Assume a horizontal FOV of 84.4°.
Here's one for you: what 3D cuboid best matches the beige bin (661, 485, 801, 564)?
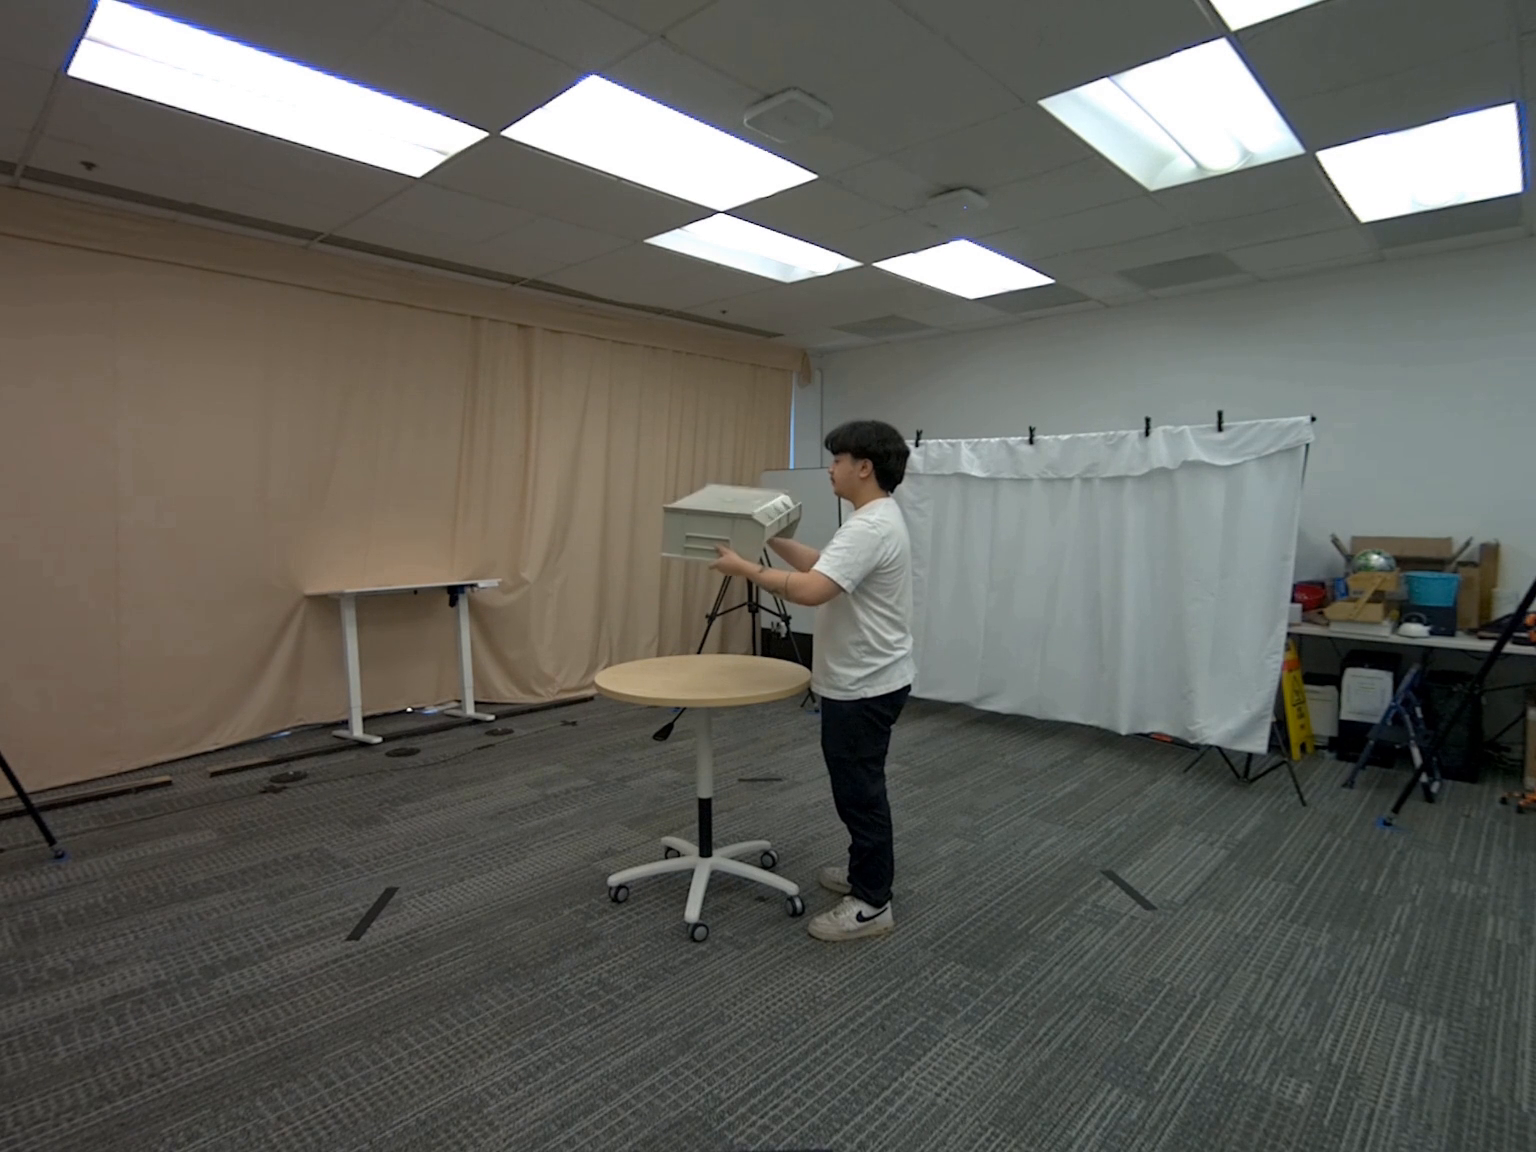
[{"bbox_3d":[-0.111,-0.177,2.915,0.385,0.187,0.418,7,19,18],"label":"beige bin"}]
